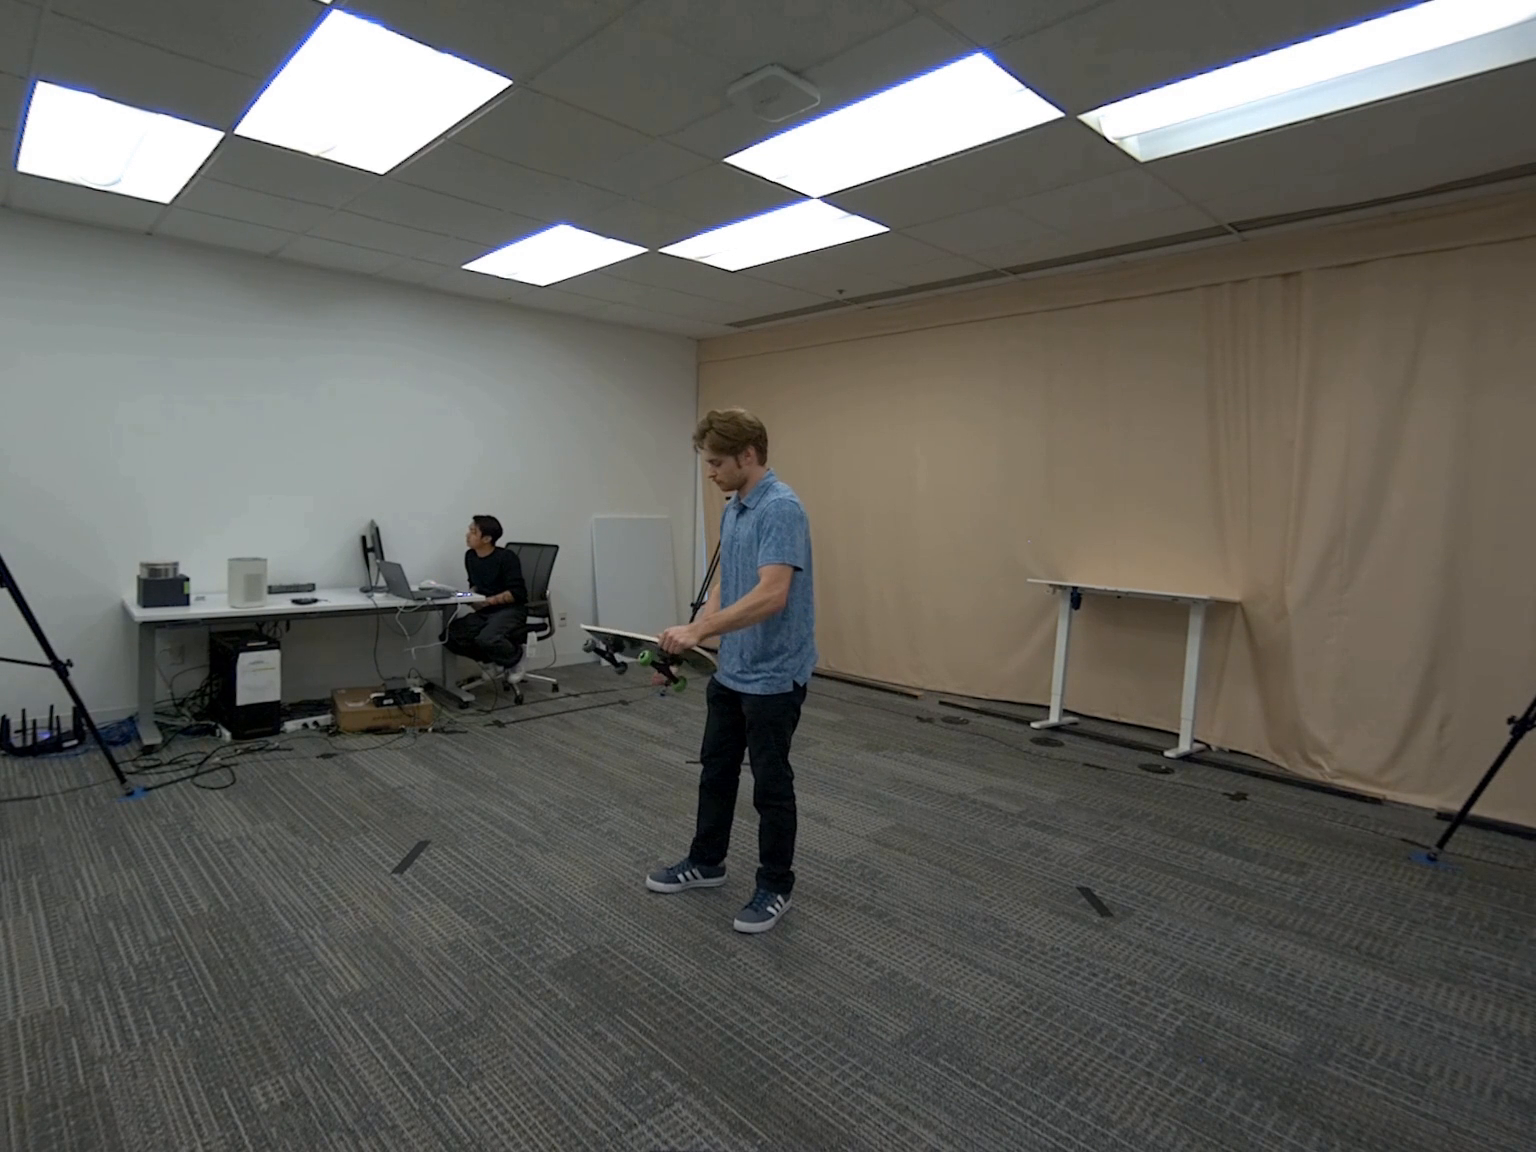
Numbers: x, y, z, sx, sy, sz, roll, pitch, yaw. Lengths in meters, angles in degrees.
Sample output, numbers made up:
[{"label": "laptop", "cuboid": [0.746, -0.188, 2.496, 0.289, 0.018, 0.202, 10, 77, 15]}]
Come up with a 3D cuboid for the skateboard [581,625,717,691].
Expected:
[{"label": "skateboard", "cuboid": [-0.441, 0.273, 2.813, 0.188, 0.111, 0.804, 44, -22, -29]}]
